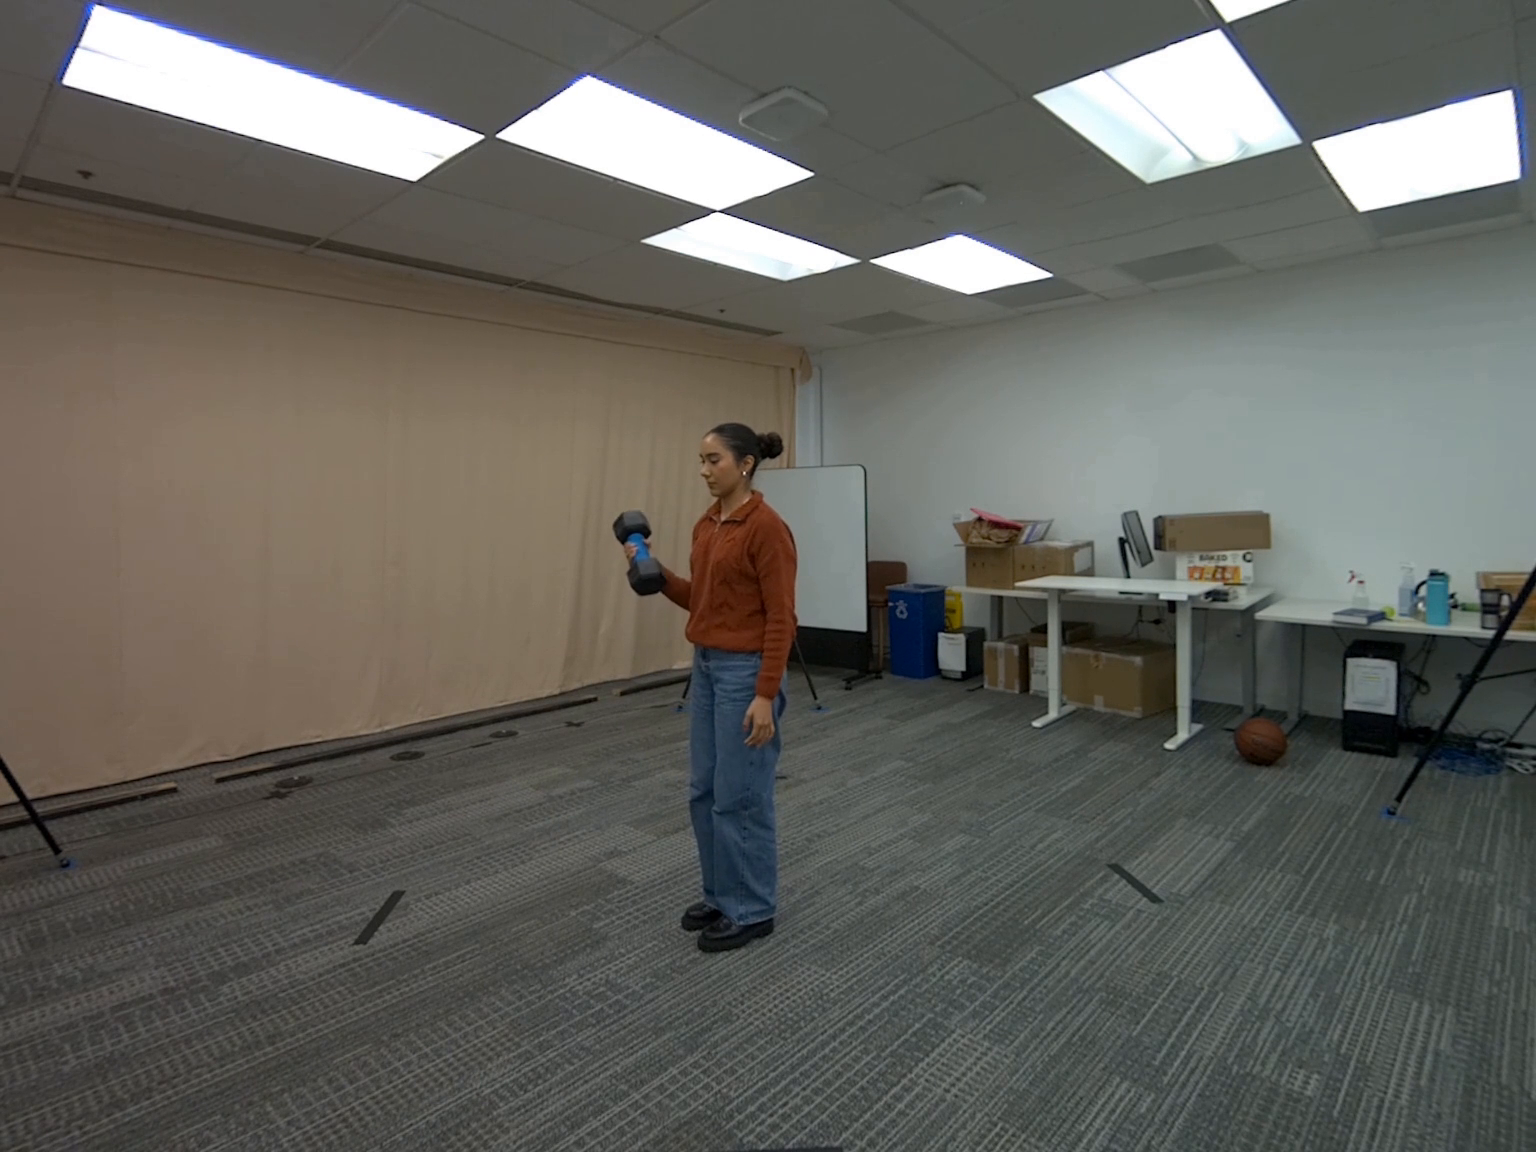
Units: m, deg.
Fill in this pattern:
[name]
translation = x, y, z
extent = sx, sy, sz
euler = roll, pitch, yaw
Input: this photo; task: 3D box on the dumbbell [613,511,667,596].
[dumbbell]
translation = -0.411, -0.068, 2.739
extent = 0.121, 0.302, 0.107
euler = -10, -39, -16
